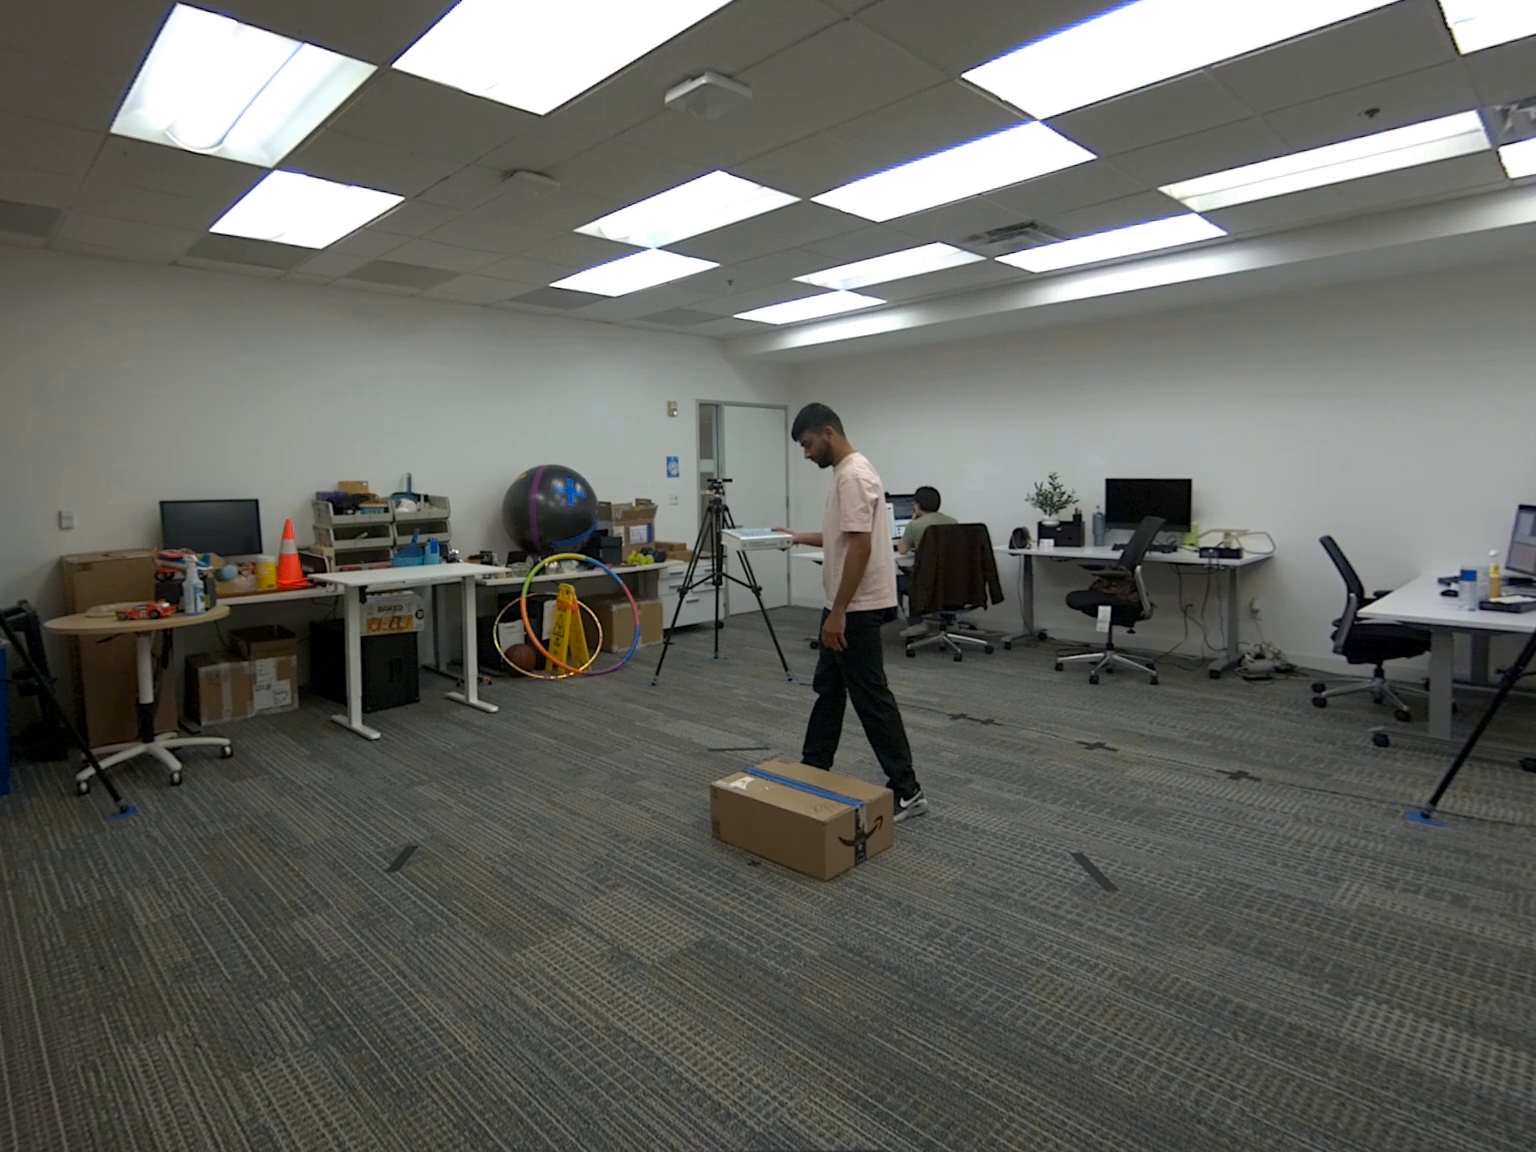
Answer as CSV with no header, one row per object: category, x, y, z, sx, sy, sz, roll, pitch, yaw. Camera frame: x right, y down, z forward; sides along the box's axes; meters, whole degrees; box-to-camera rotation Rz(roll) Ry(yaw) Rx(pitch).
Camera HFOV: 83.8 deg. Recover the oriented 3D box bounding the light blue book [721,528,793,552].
light blue book,-0.057,-0.165,3.789,0.188,0.058,0.268,-3,12,-19
